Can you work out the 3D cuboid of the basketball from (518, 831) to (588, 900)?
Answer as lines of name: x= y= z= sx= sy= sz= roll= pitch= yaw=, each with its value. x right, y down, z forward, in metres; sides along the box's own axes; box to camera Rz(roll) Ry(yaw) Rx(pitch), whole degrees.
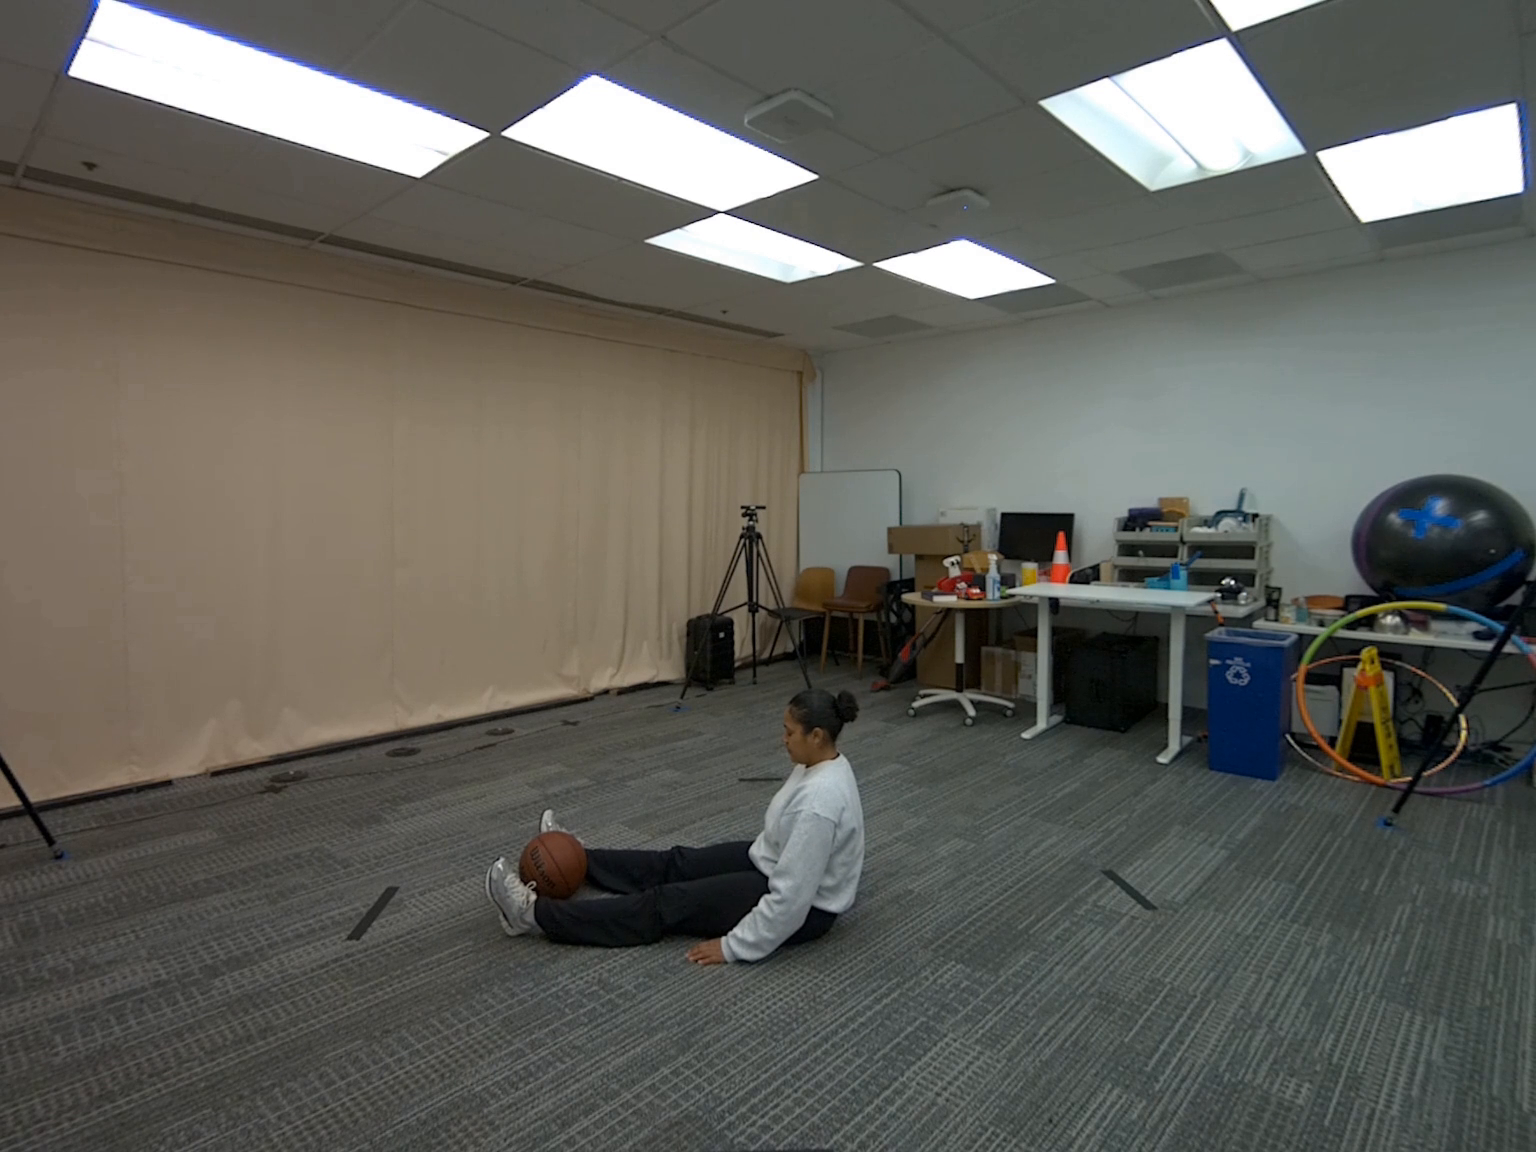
basketball: x=-0.768 y=1.038 z=2.986 sx=0.236 sy=0.235 sz=0.237 roll=0 pitch=4 yaw=-2
